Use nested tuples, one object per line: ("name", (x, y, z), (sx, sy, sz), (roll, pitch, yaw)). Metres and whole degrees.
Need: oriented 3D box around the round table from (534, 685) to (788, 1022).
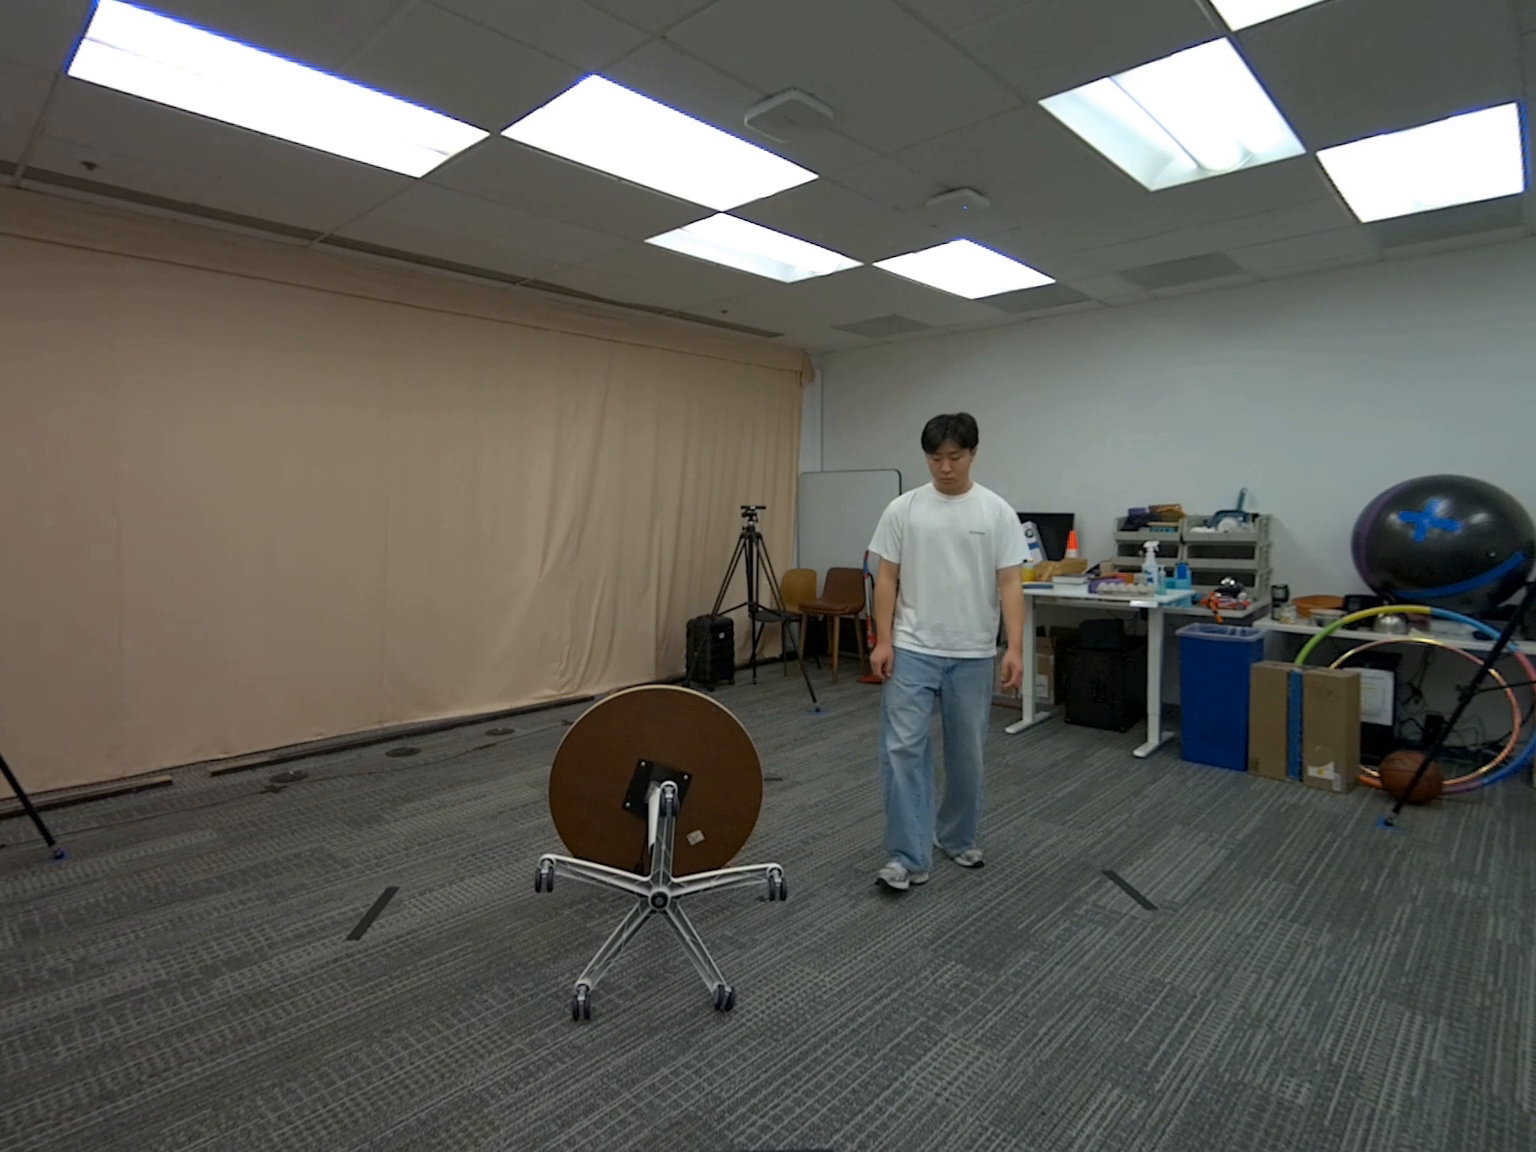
("round table", (-0.337, 0.830, 2.630), (0.780, 0.781, 0.796), (0, 9, -7))
